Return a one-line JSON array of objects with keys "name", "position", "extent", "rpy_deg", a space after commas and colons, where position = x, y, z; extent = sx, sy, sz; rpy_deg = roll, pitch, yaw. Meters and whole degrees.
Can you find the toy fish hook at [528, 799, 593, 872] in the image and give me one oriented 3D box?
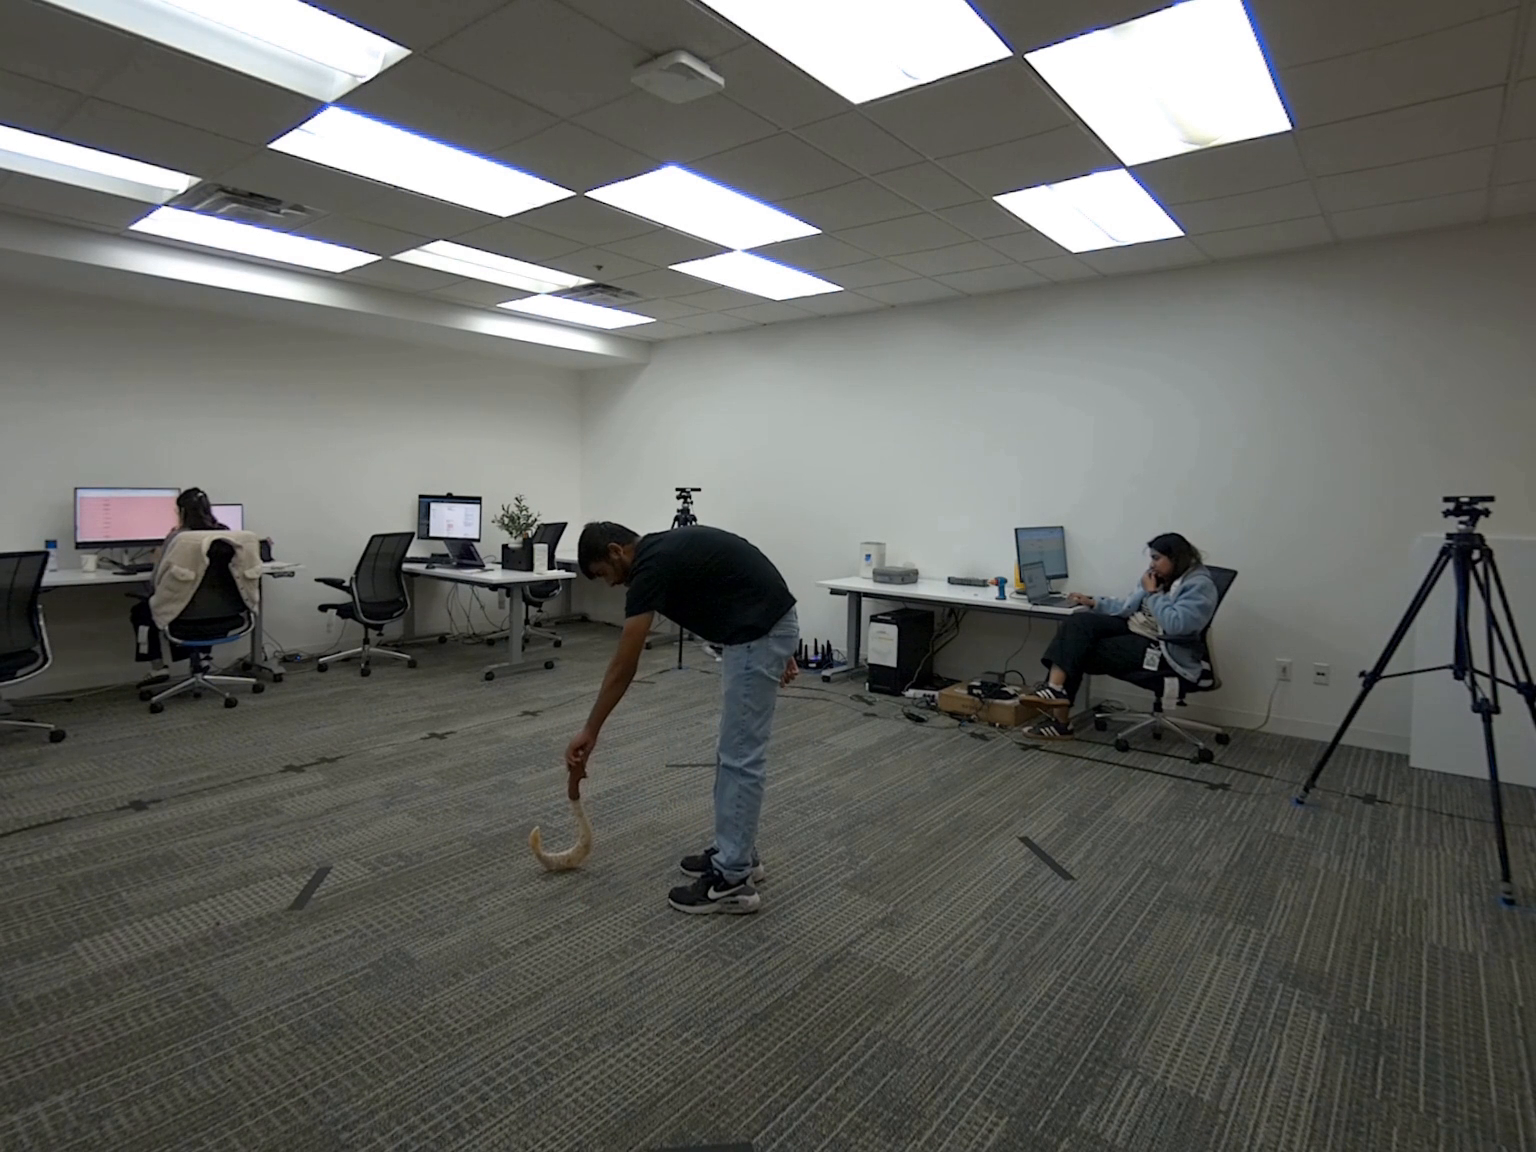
[{"name": "toy fish hook", "position": [-0.742, 0.828, 2.997], "extent": [0.220, 0.499, 0.050], "rpy_deg": [-2, 19, -19]}]
